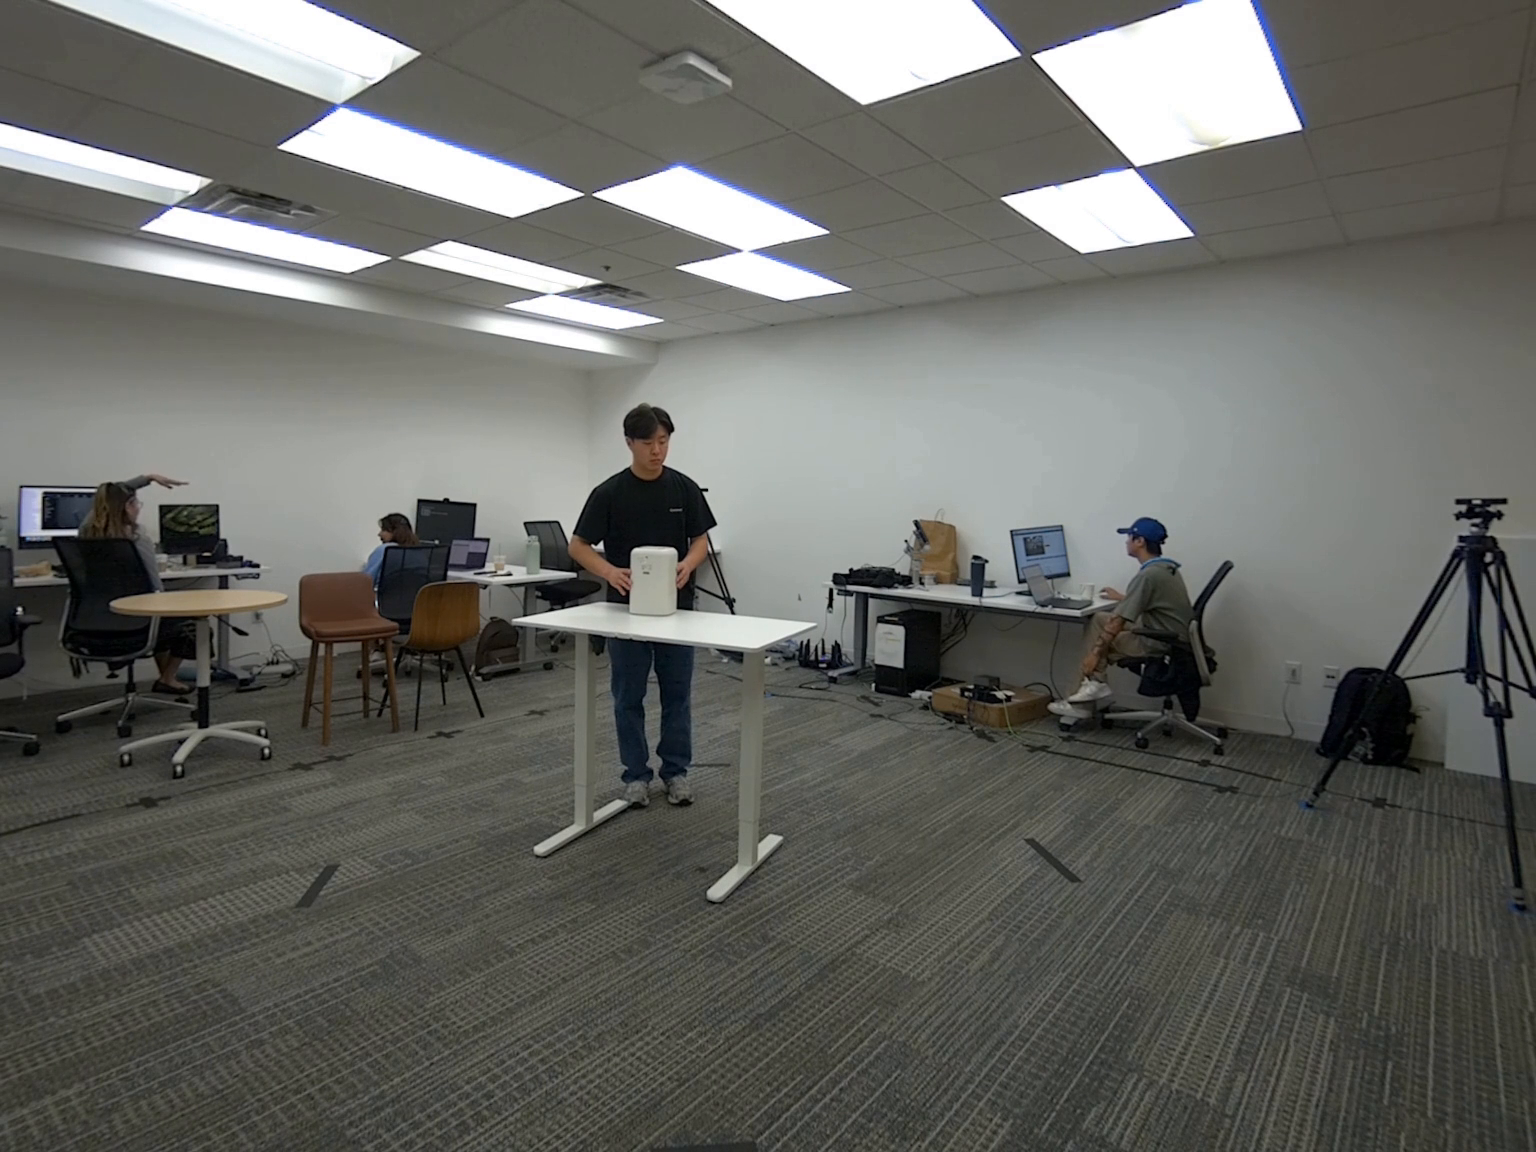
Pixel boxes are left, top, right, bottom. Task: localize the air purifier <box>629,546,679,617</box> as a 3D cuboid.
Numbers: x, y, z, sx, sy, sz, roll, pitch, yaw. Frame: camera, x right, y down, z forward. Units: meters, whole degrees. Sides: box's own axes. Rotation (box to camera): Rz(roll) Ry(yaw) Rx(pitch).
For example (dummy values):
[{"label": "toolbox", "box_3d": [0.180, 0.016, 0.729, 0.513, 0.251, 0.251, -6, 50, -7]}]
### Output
[{"label": "air purifier", "box_3d": [-0.478, 0.012, 3.438, 0.173, 0.264, 0.170, 3, 5, 11]}]
